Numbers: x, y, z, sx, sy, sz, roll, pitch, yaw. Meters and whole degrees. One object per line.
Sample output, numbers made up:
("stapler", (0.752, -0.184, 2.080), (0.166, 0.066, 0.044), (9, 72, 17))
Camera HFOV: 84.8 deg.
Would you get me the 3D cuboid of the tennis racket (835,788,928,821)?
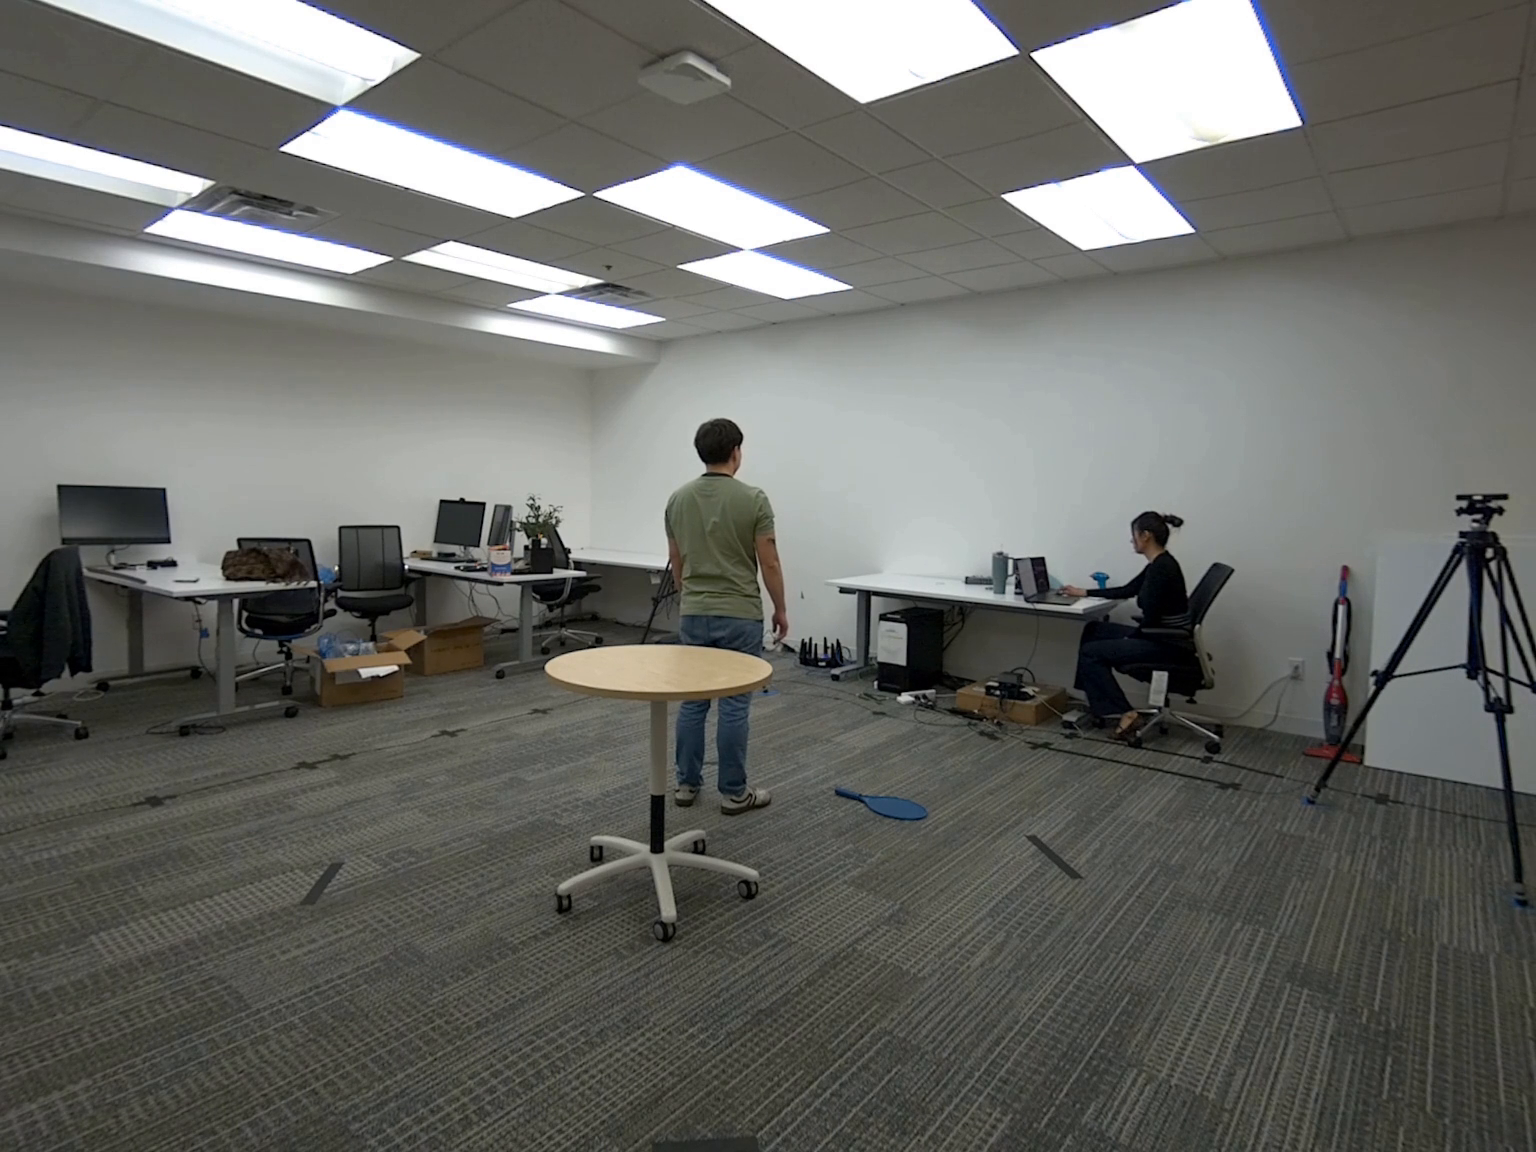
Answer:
("tennis racket", (0.487, 0.996, 3.763), (0.447, 0.031, 0.208), (7, 10, 36))
